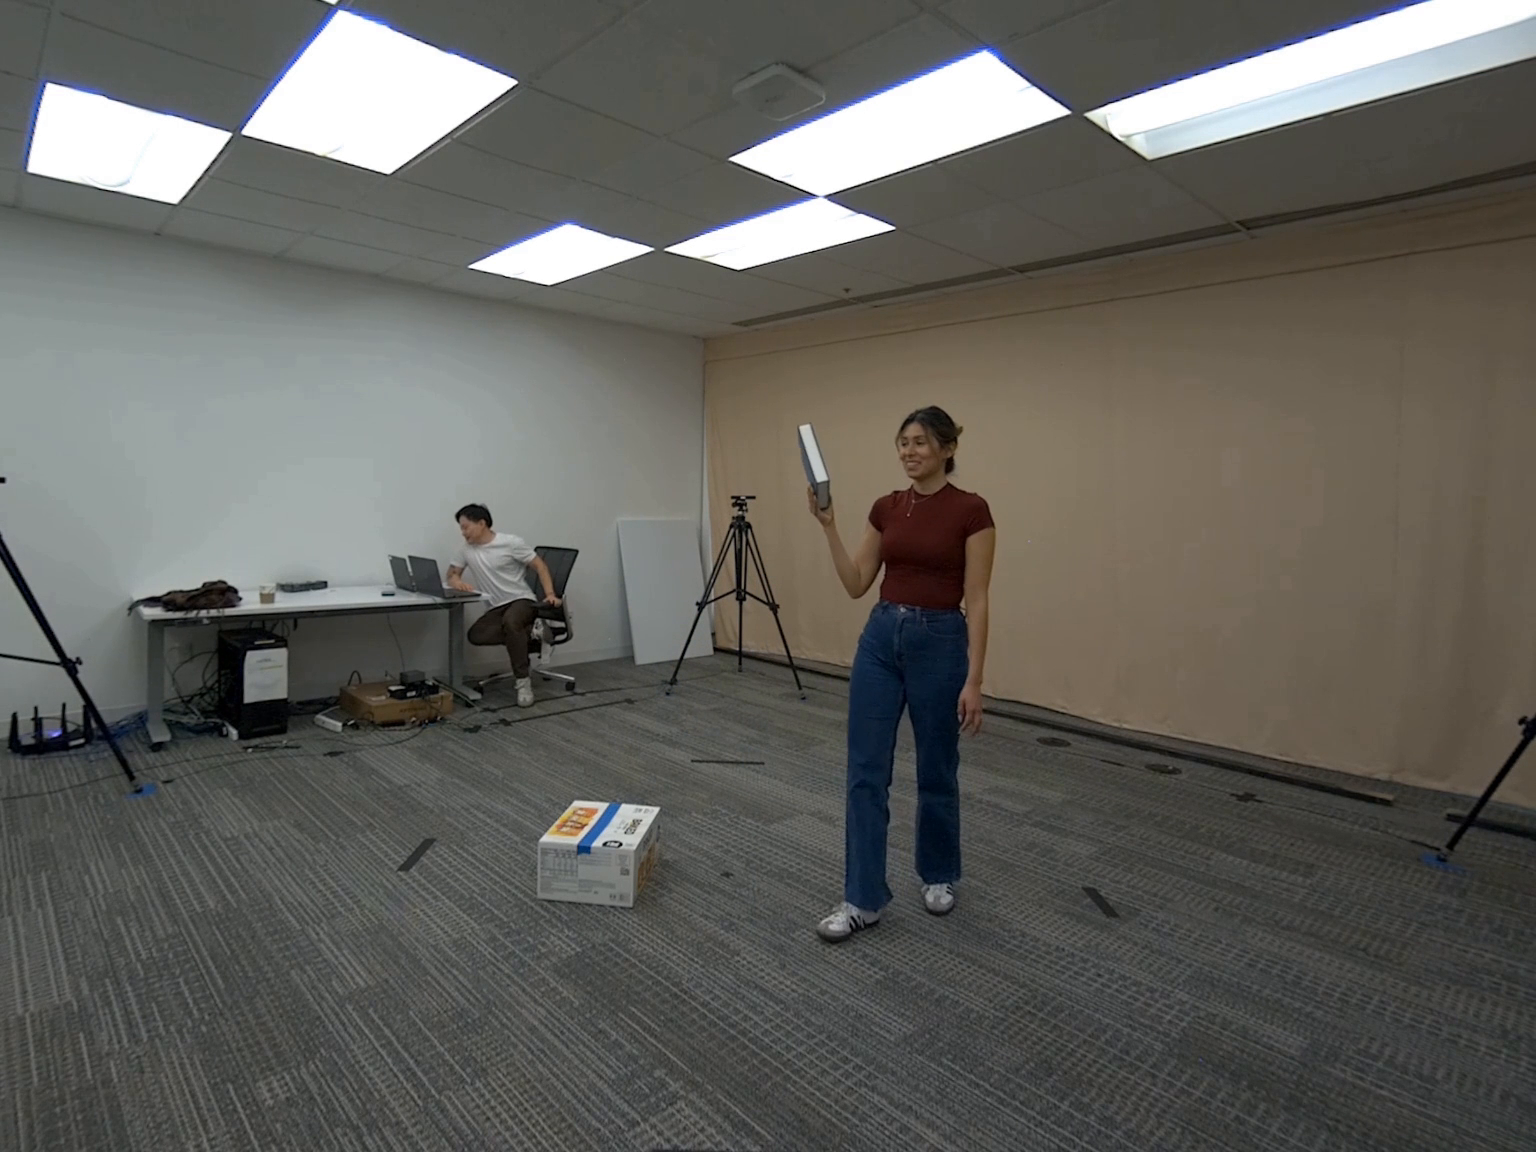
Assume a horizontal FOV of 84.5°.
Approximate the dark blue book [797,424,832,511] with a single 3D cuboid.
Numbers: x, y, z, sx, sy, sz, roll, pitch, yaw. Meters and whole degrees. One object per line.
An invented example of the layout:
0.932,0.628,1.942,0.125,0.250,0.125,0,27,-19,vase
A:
0.147,-0.363,2.804,0.045,0.251,0.159,-15,-30,0,dark blue book
